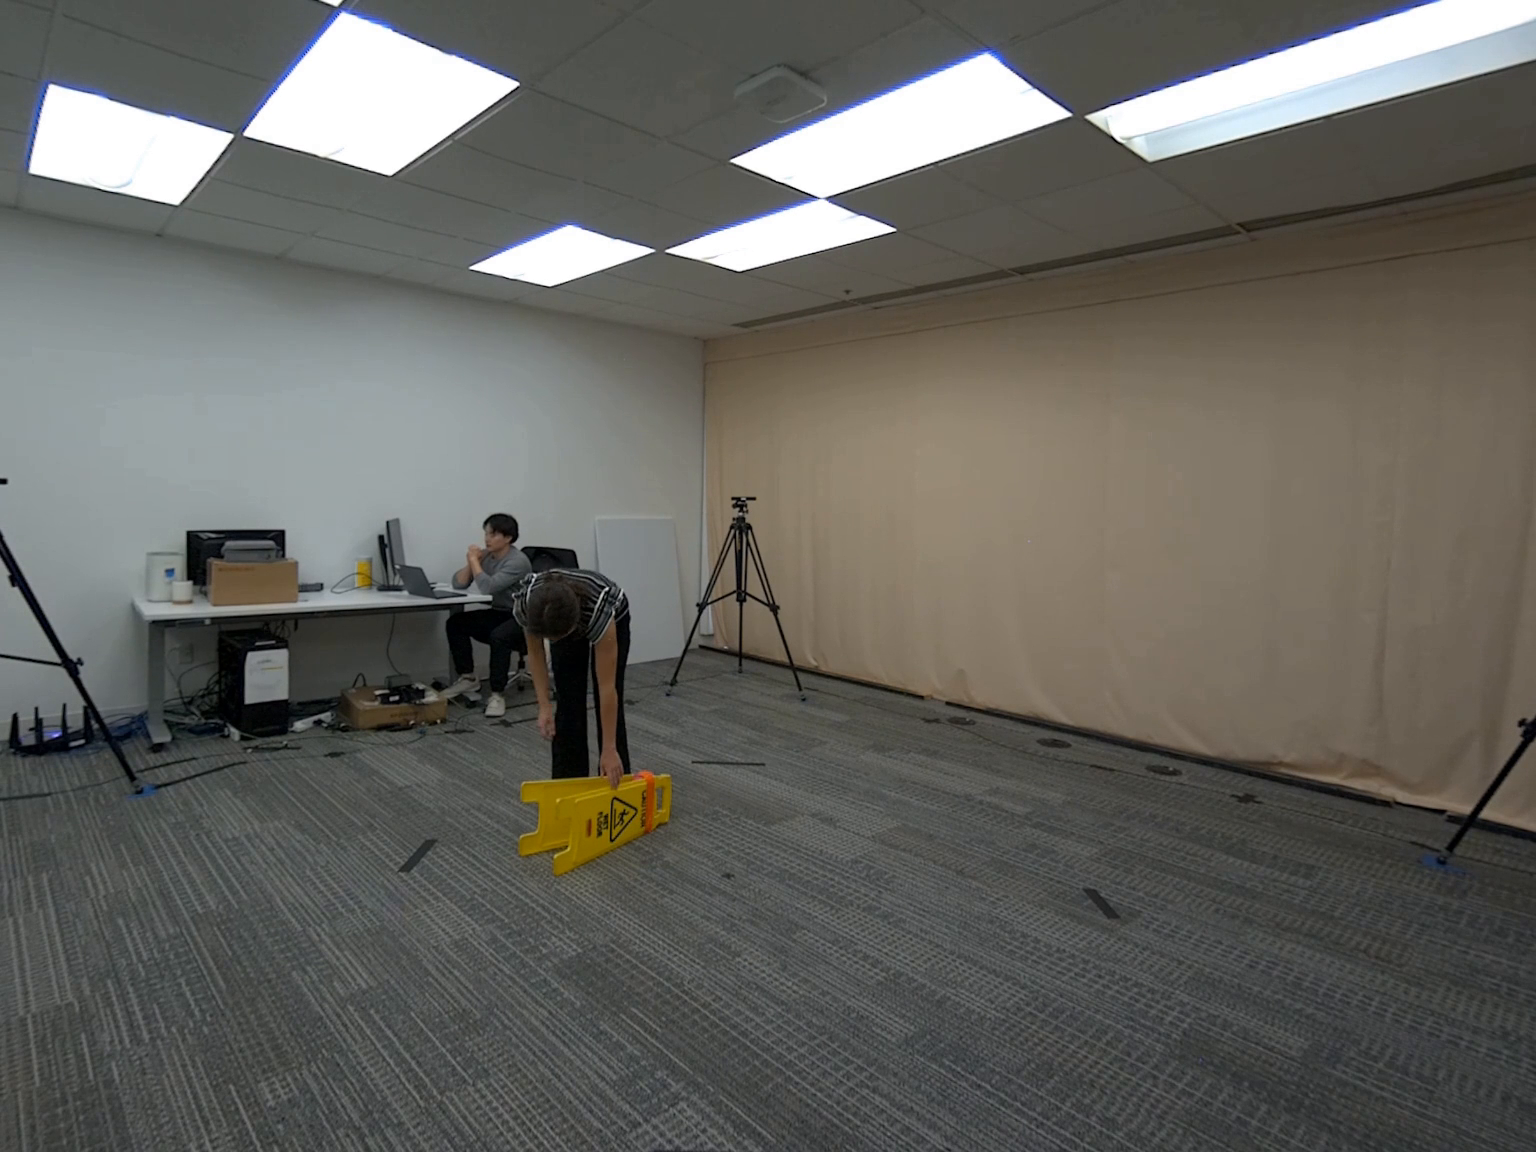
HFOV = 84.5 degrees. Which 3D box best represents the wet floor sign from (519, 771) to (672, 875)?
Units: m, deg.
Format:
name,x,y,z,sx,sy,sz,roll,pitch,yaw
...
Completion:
name,x,y,z,sx,sy,sz,roll,pitch,yaw
wet floor sign,-0.655,0.947,3.381,0.297,0.282,0.630,5,3,44
